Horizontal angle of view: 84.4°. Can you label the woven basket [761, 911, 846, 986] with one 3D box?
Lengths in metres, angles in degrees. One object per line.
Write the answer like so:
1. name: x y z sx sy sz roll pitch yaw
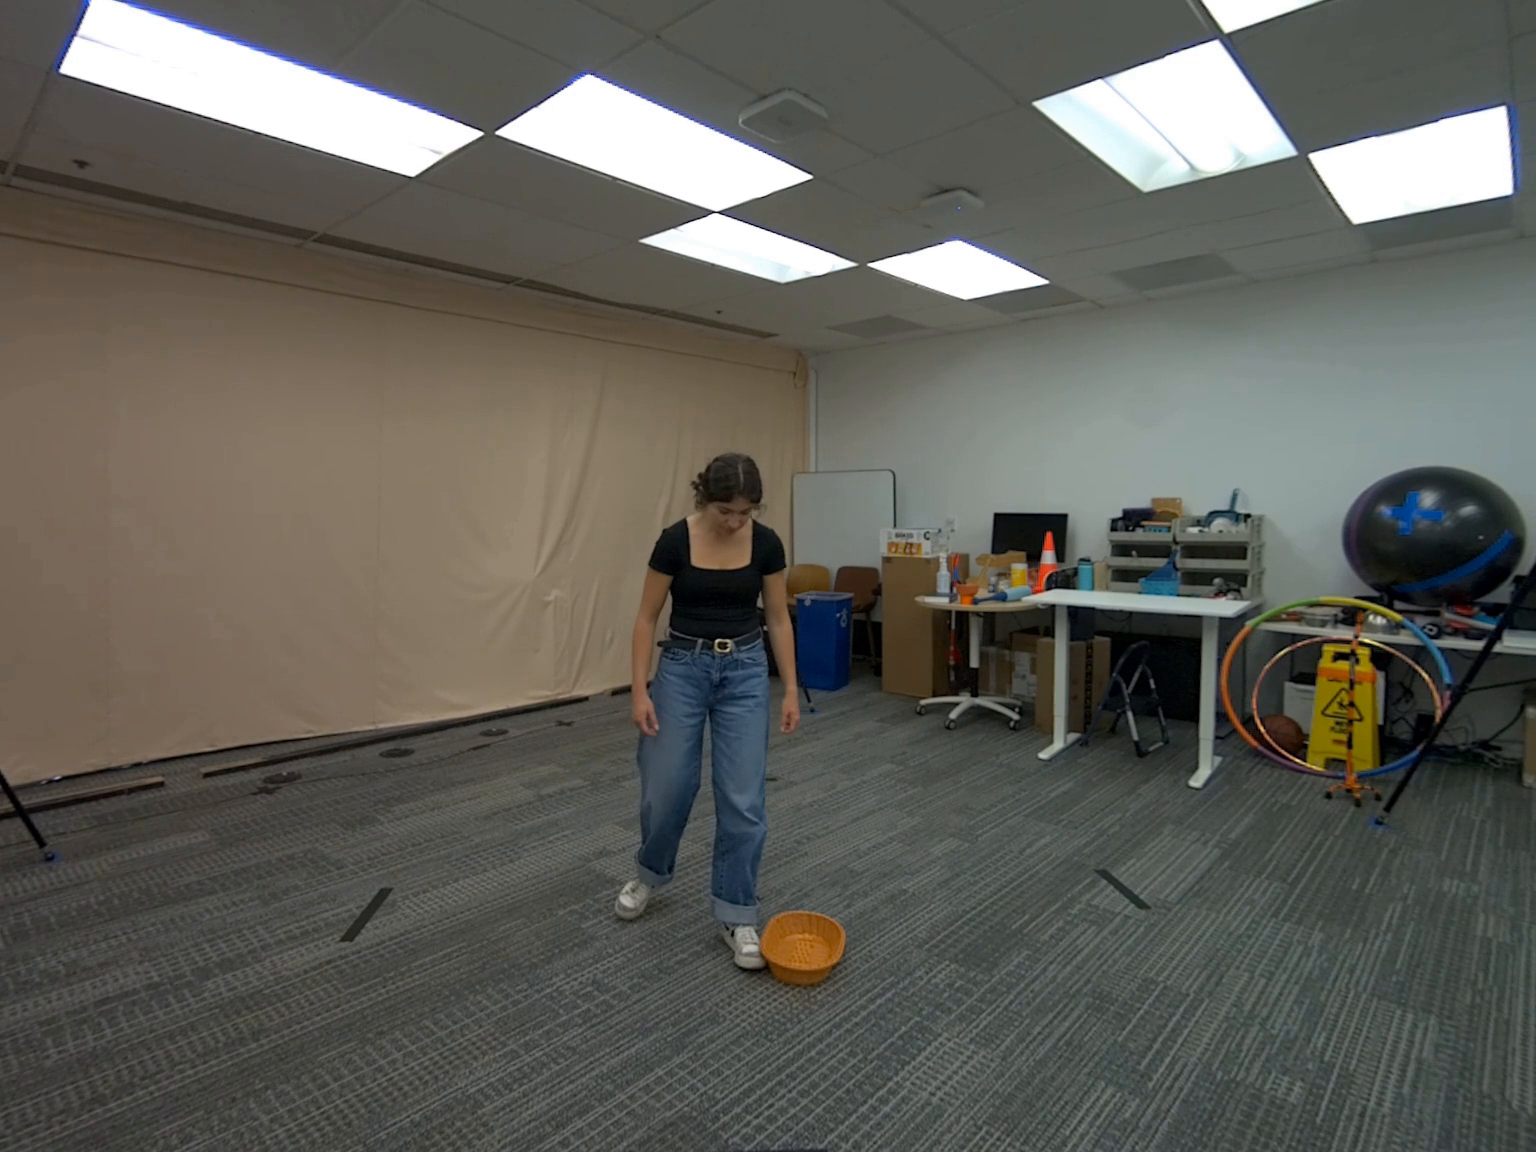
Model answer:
1. woven basket: 0.112 1.134 2.581 0.256 0.073 0.346 3 5 13
